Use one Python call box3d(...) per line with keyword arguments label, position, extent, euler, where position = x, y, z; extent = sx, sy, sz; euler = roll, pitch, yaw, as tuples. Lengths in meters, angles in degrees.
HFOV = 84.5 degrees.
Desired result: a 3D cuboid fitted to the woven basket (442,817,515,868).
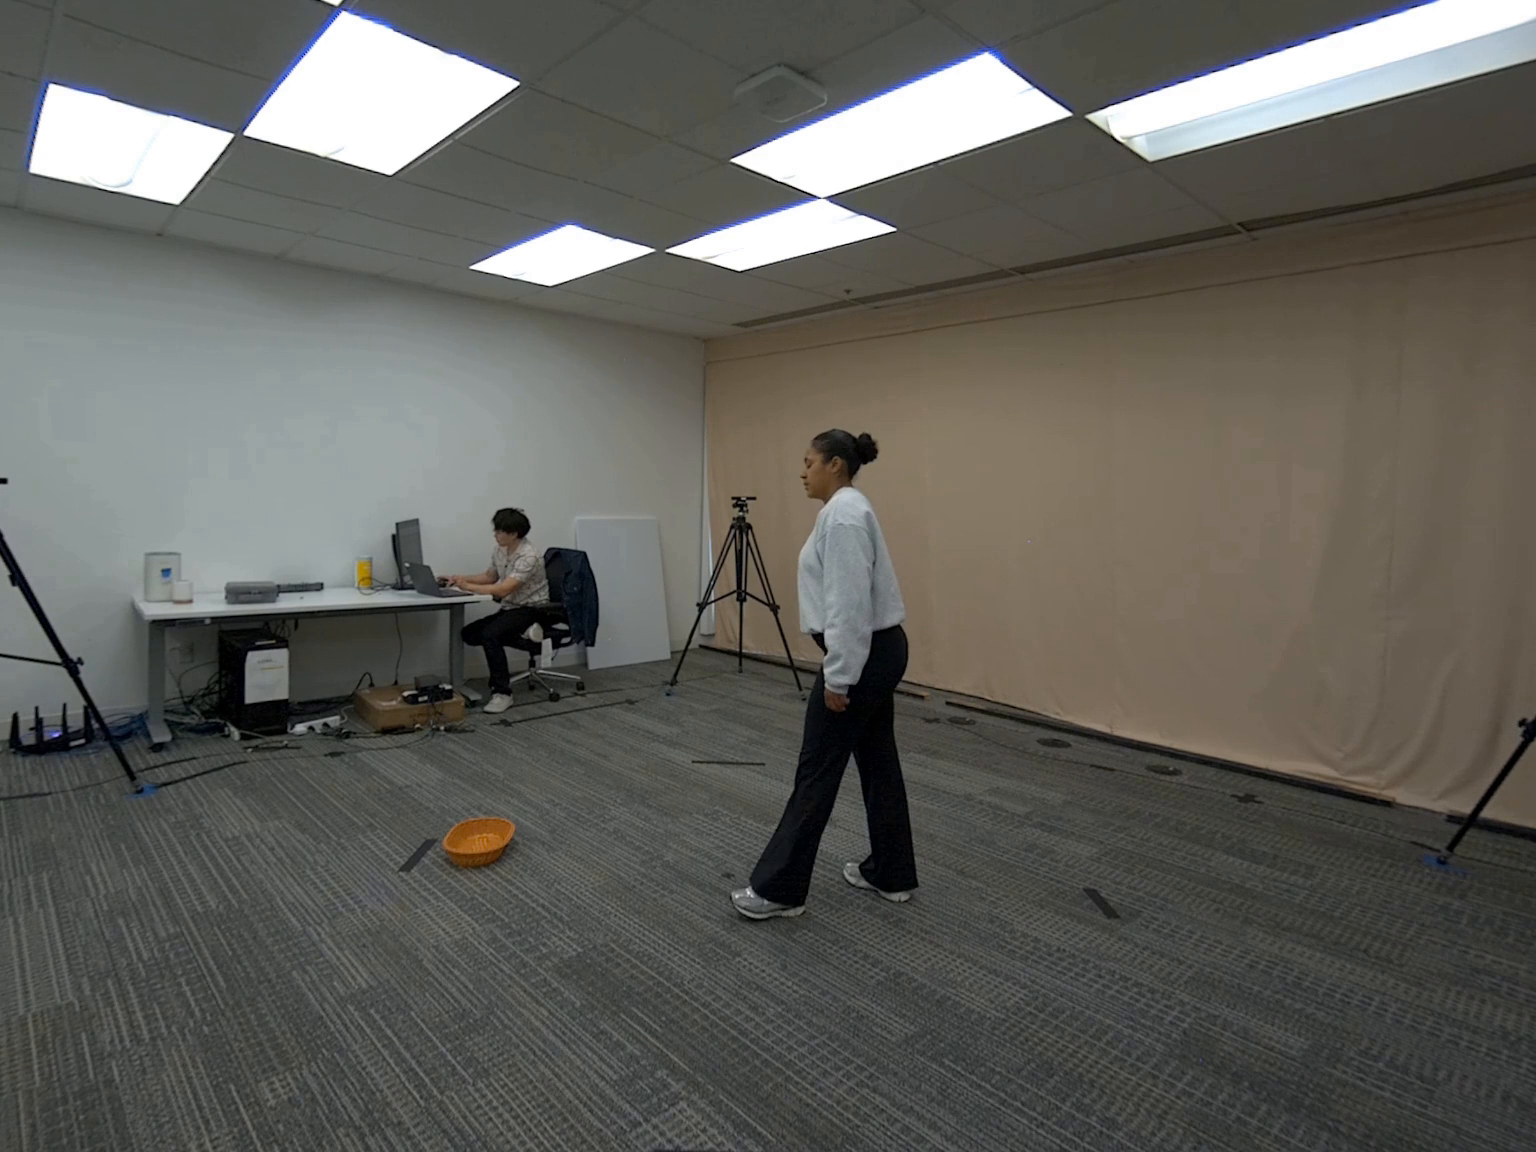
box3d(label="woven basket", position=(-1.130, 1.034, 3.263), extent=(0.252, 0.073, 0.352), euler=(1, 6, -4))
